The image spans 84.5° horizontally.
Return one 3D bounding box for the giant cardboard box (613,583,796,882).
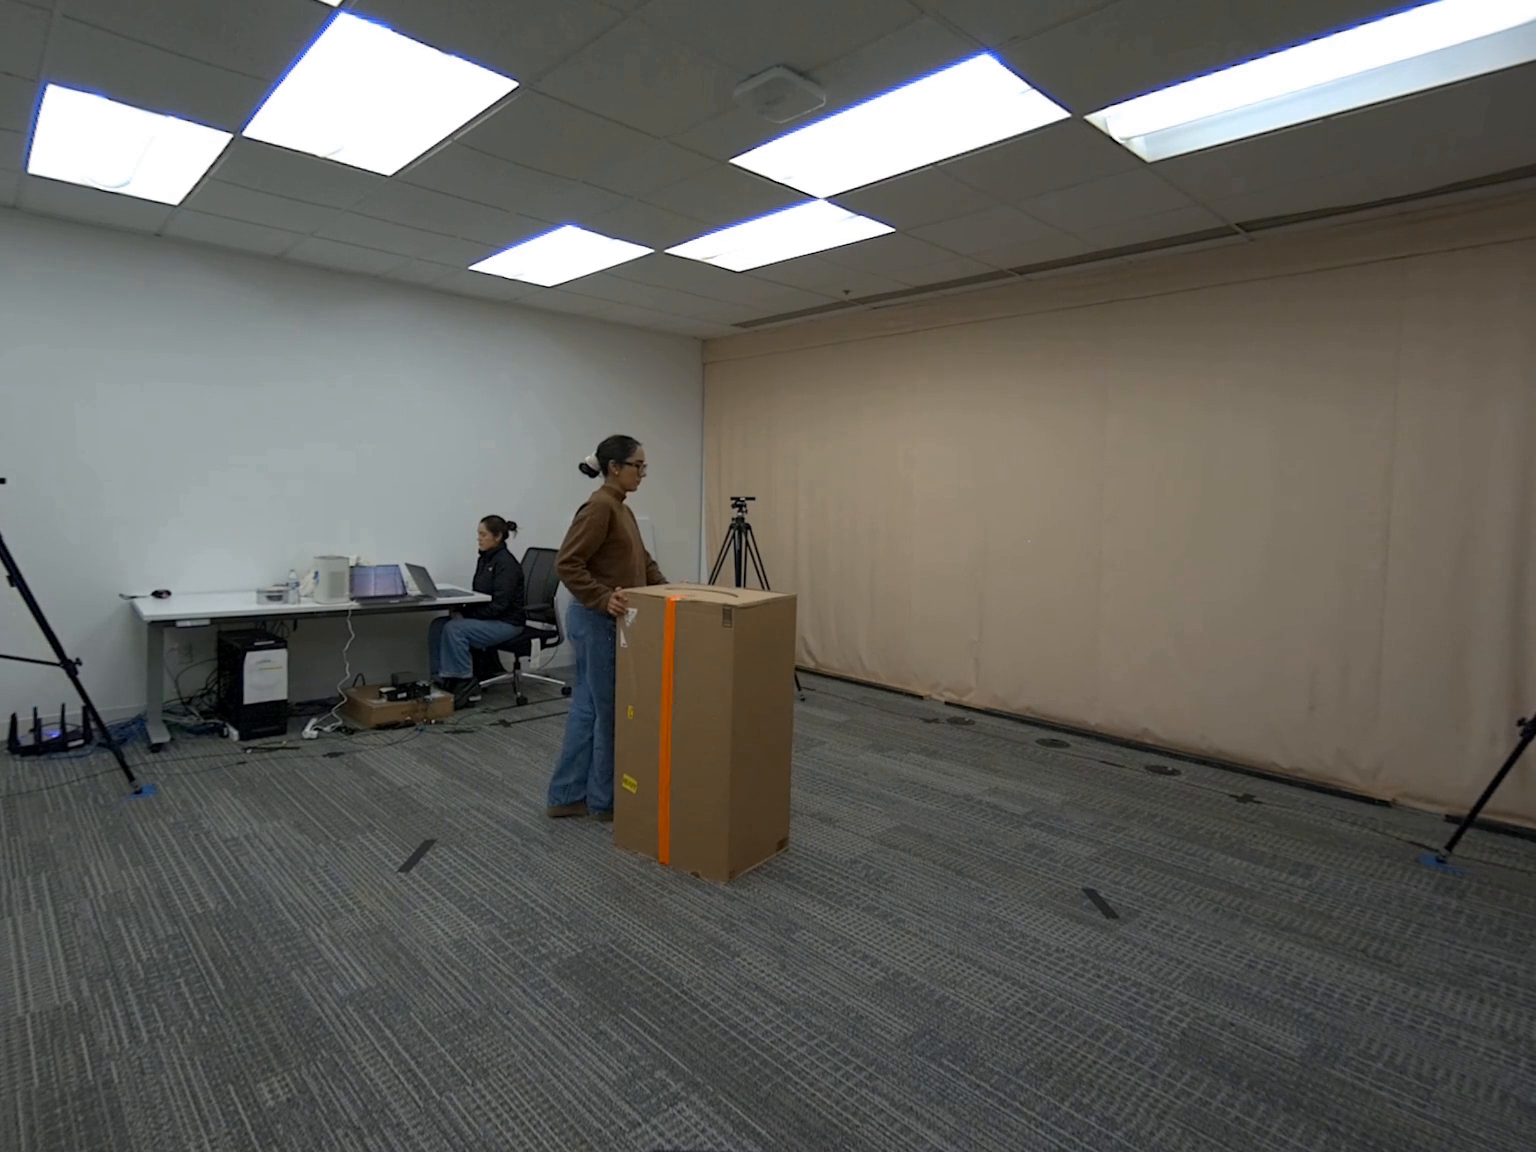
[{"bbox_3d":[-0.256,0.575,3.324,0.592,1.023,0.417,4,5,37],"label":"giant cardboard box"}]
